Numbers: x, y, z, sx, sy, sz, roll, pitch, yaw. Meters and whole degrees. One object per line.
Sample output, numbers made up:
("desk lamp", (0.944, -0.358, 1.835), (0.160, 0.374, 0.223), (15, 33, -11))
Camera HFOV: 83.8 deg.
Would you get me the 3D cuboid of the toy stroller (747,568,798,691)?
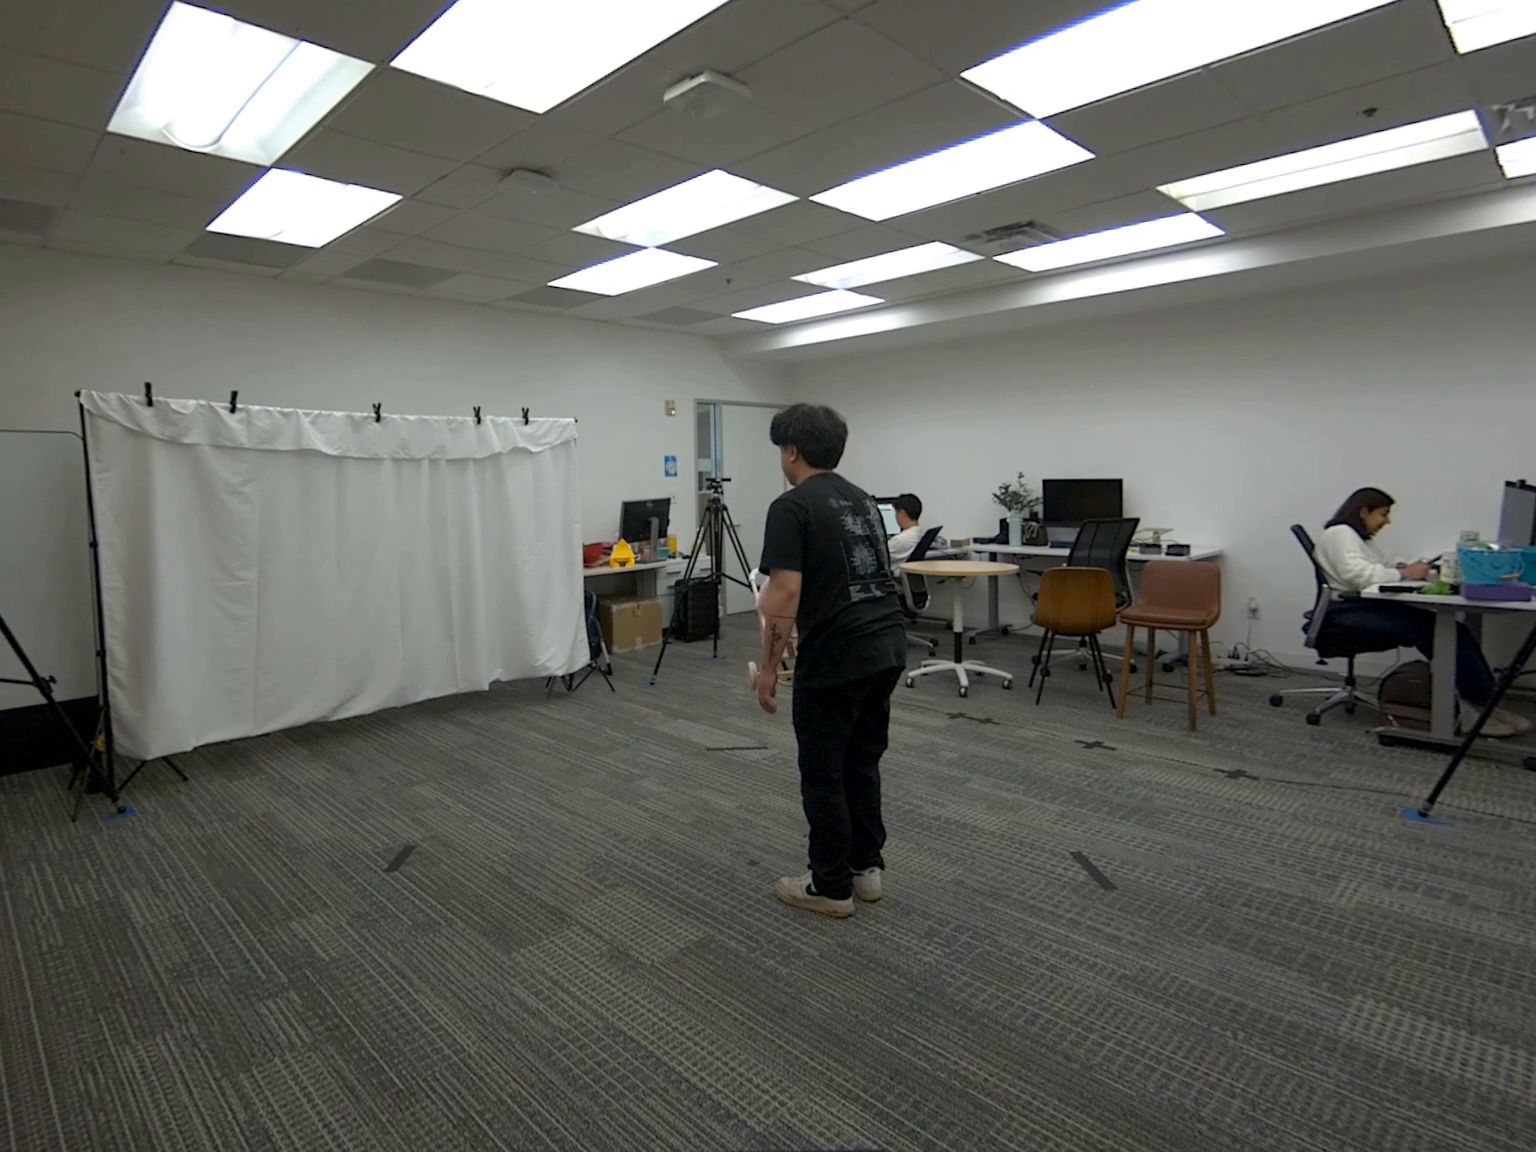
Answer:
("toy stroller", (0.076, 0.228, 3.230), (0.280, 0.538, 0.342), (-4, -5, -8))
